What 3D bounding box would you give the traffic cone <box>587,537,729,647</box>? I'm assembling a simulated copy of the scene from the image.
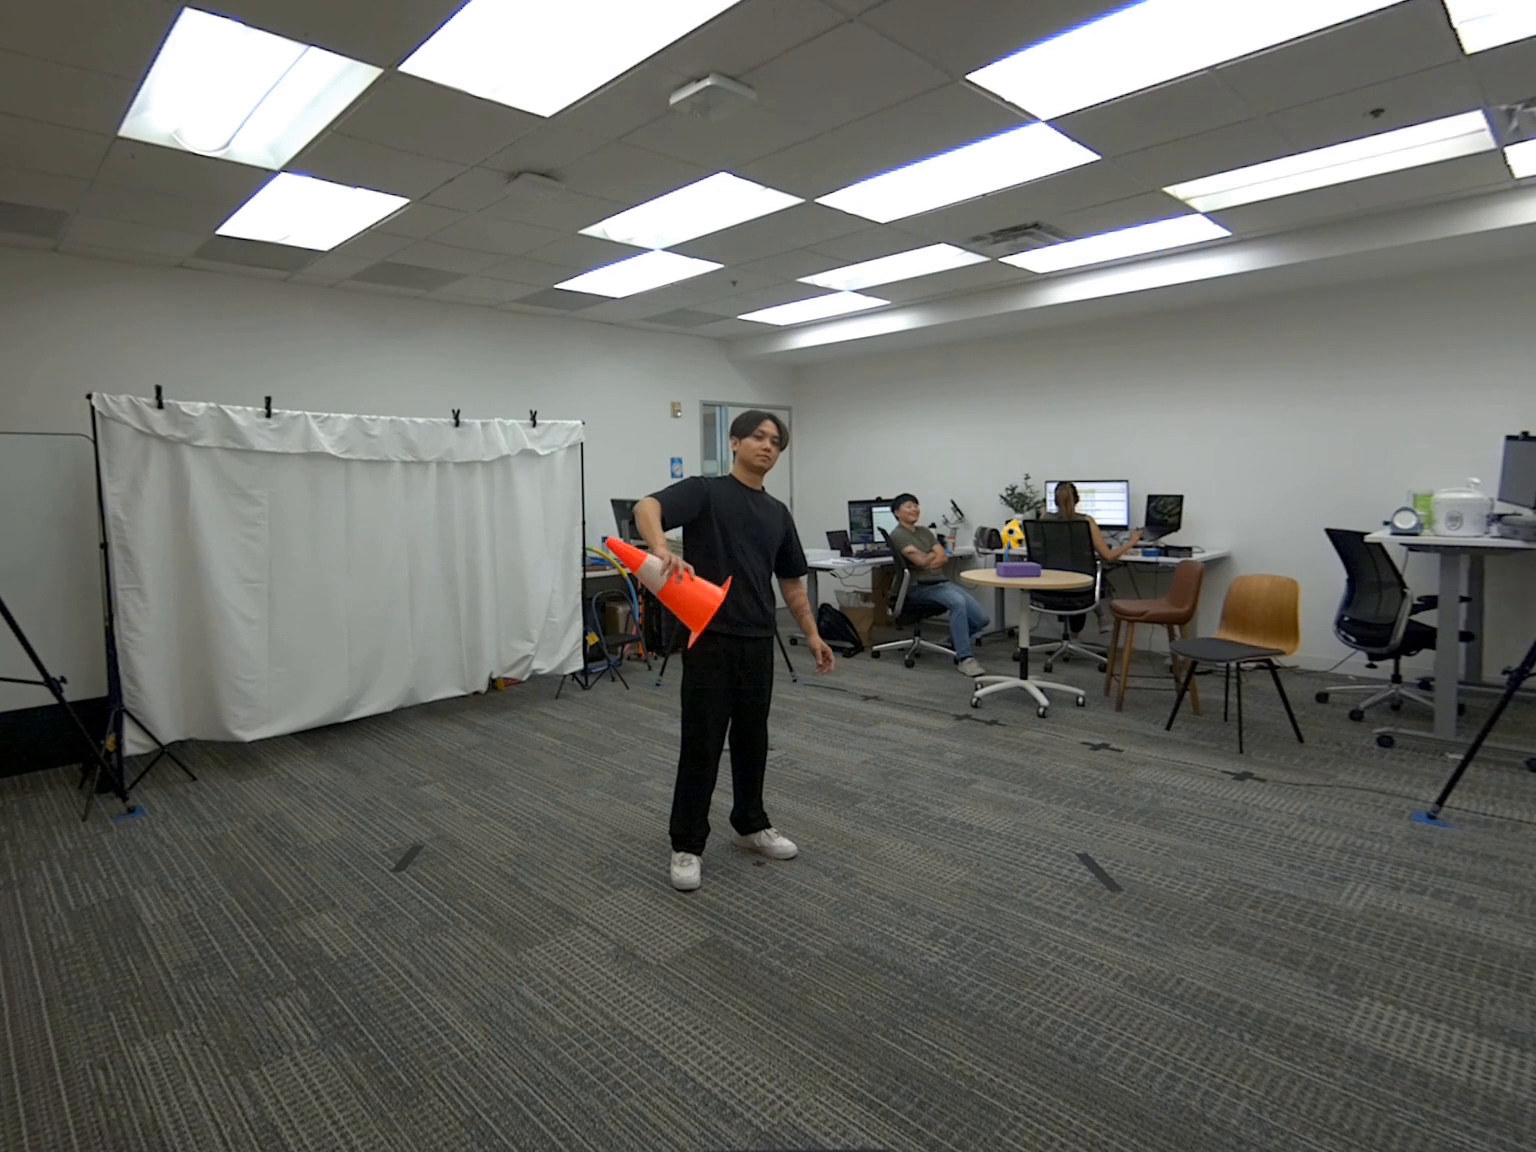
[{"bbox_3d":[-0.335,0.007,2.590,0.379,0.204,0.206,35,22,-9],"label":"traffic cone"}]
